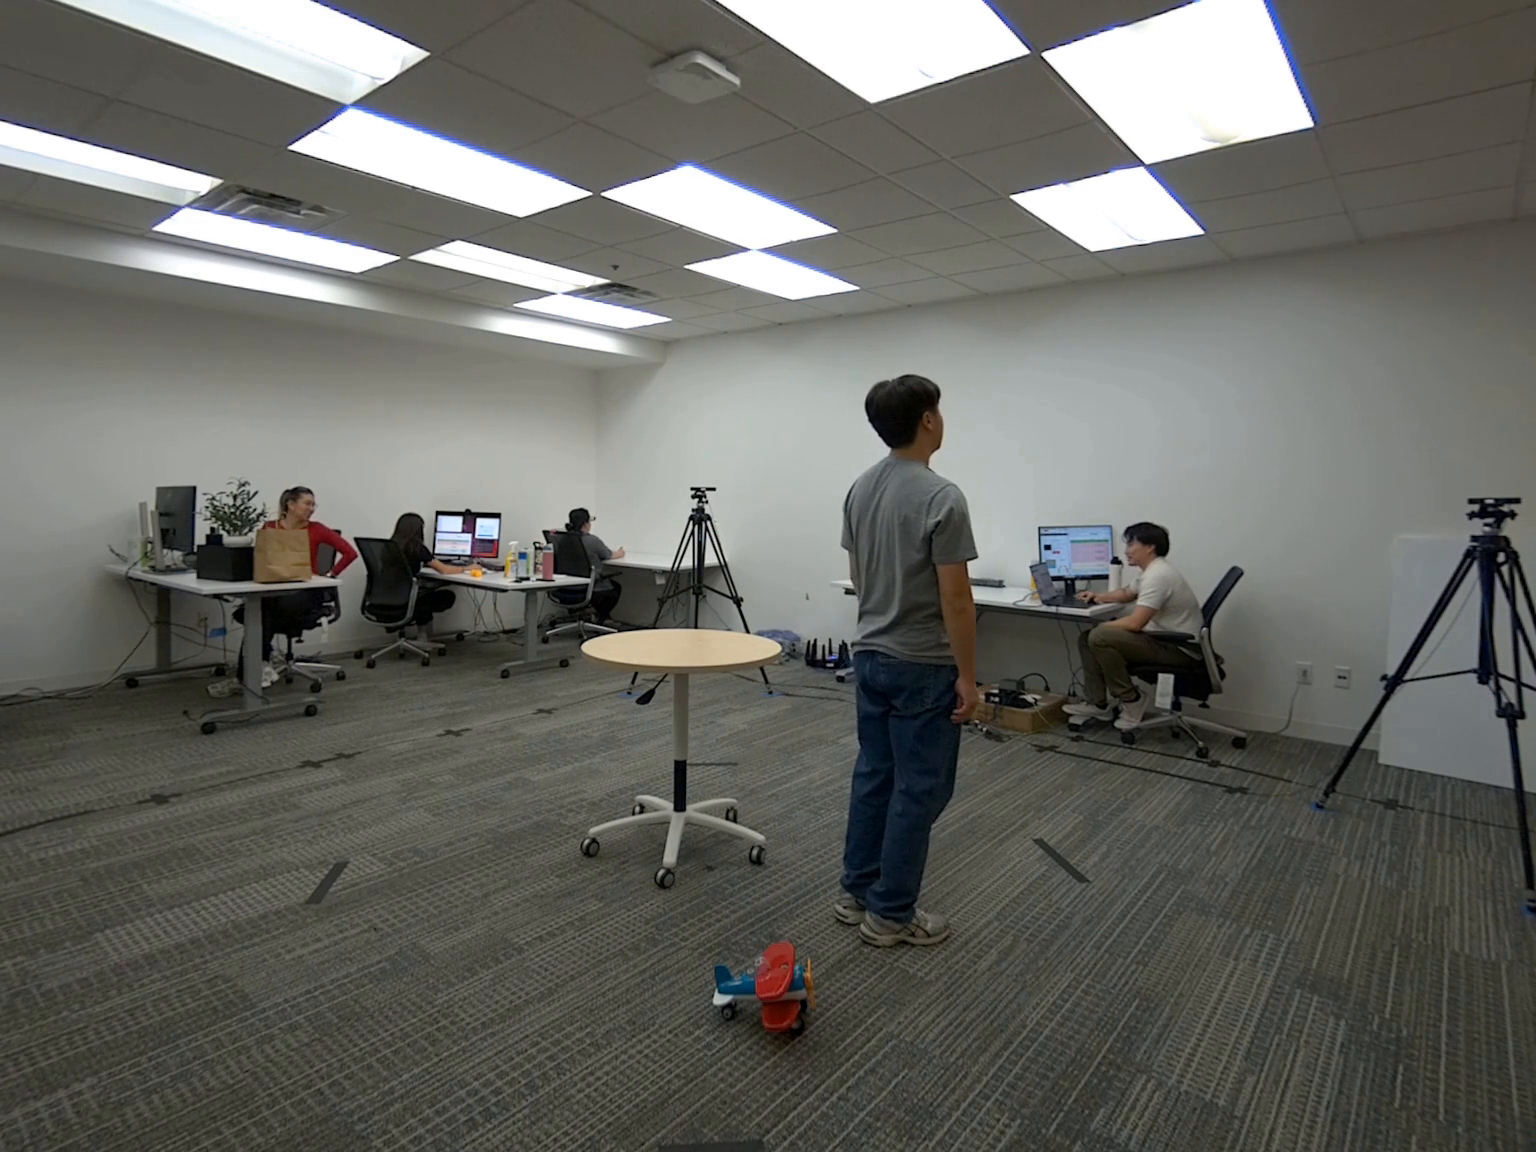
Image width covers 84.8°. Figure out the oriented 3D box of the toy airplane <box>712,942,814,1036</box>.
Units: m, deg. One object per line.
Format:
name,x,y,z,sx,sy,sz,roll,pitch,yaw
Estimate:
toy airplane,-0.014,1.088,2.209,0.254,0.156,0.257,0,5,-20
